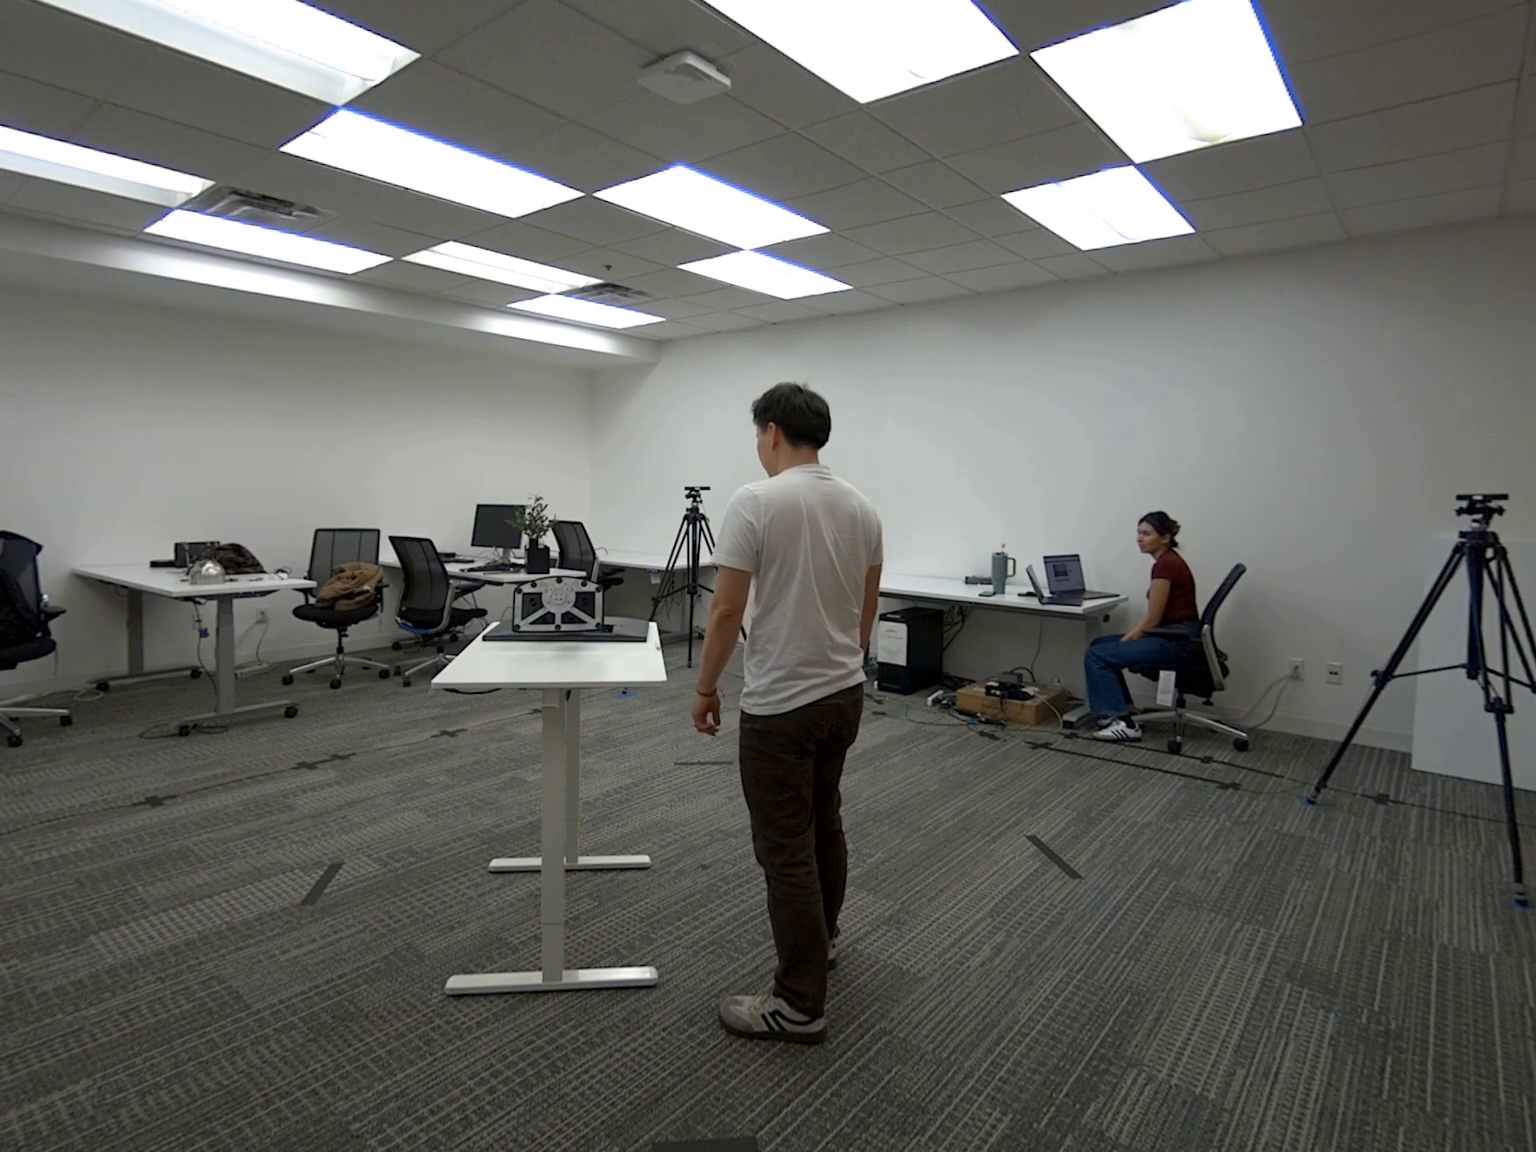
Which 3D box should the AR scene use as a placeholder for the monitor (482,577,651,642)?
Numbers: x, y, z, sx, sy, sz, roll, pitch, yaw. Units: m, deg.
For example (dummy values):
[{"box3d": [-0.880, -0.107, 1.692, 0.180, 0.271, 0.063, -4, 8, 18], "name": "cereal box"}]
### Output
[{"box3d": [-0.696, 0.141, 2.864, 0.537, 0.189, 0.518, 2, -12, -4], "name": "monitor"}]
